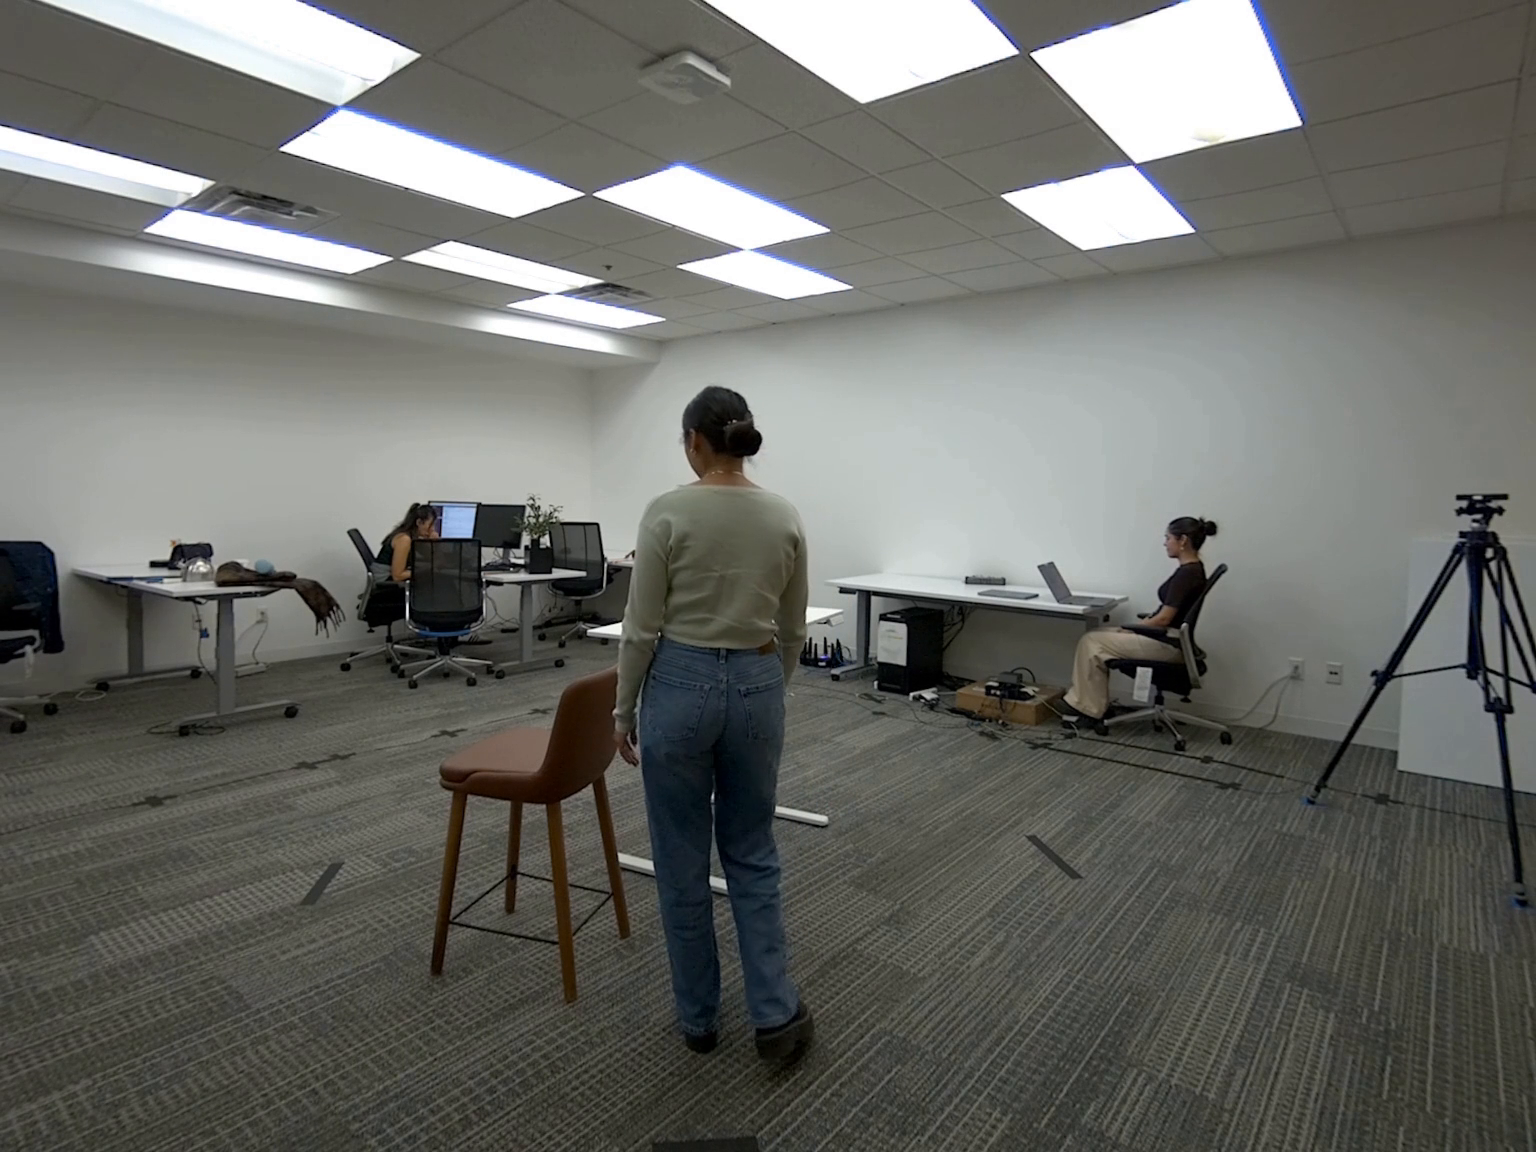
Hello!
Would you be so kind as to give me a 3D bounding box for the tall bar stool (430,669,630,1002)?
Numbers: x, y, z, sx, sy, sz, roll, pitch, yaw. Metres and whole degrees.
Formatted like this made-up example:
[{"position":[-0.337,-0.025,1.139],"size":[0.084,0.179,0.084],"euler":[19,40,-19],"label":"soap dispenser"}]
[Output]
[{"position":[-0.688,0.685,2.500],"size":[0.477,0.886,0.449],"euler":[4,4,18],"label":"tall bar stool"}]
